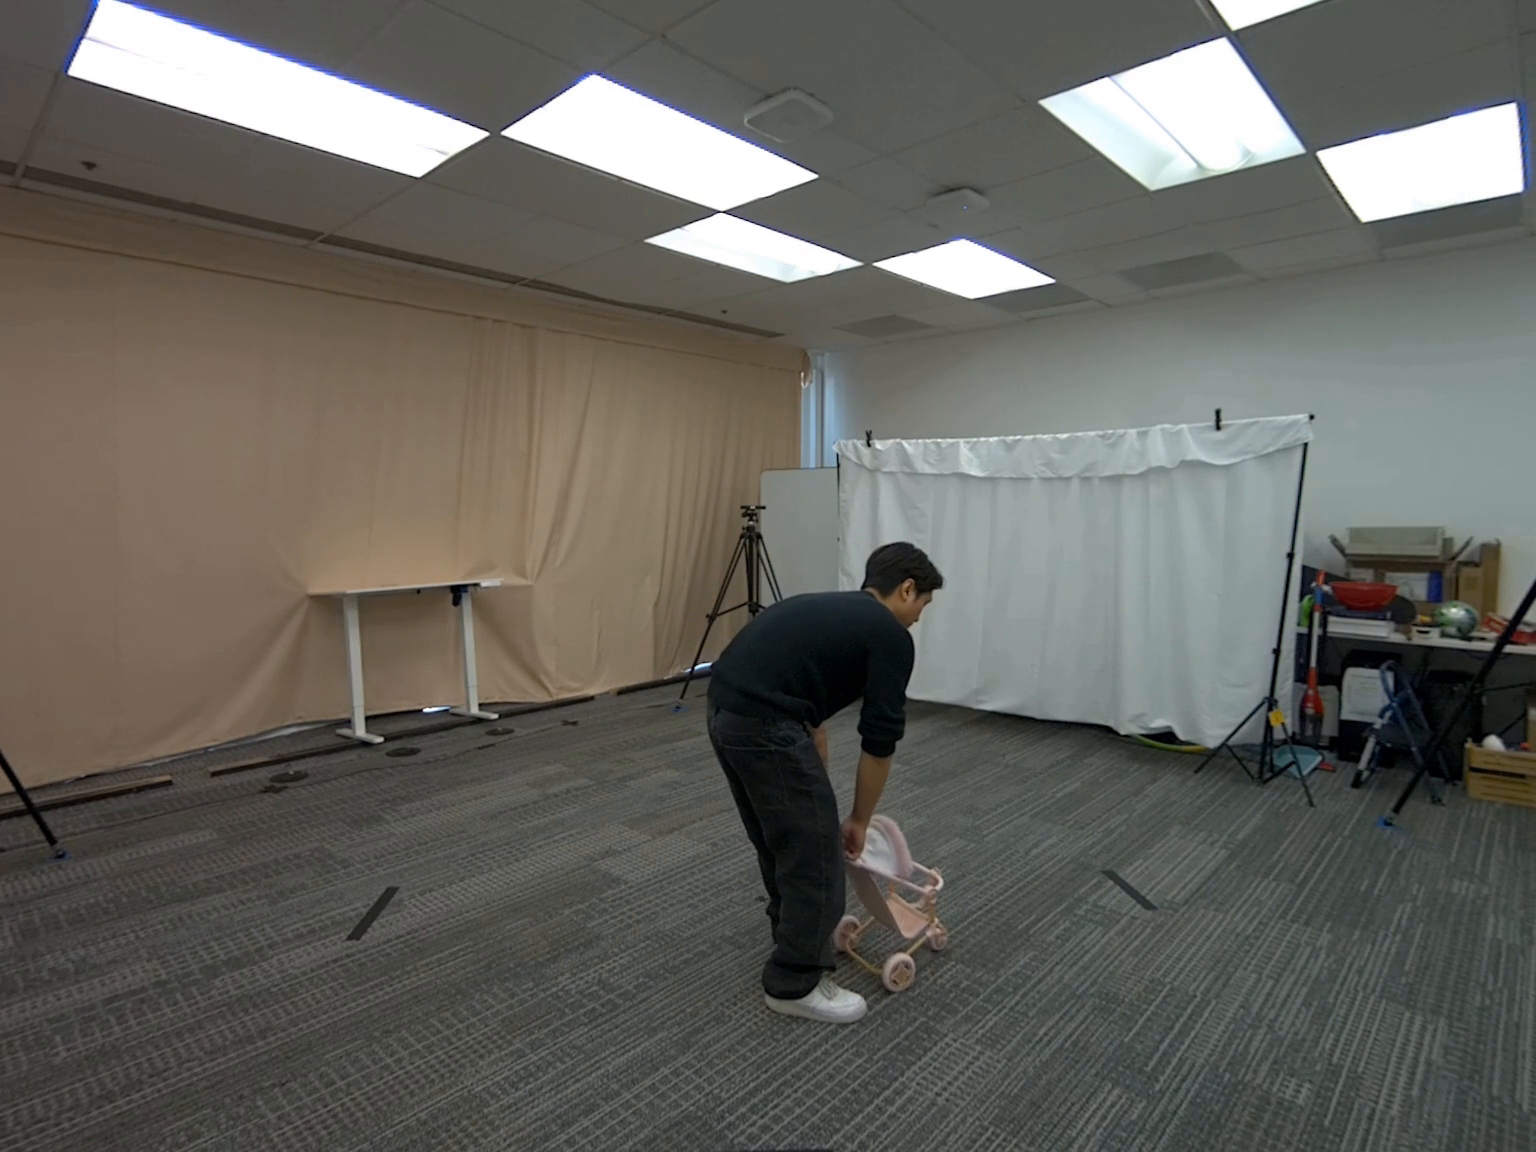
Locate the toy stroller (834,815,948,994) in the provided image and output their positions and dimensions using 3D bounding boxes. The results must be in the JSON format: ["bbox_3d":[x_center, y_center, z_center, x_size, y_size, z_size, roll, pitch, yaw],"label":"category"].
[{"bbox_3d":[0.374,0.958,2.538,0.335,0.530,0.289,-20,11,-23],"label":"toy stroller"}]
